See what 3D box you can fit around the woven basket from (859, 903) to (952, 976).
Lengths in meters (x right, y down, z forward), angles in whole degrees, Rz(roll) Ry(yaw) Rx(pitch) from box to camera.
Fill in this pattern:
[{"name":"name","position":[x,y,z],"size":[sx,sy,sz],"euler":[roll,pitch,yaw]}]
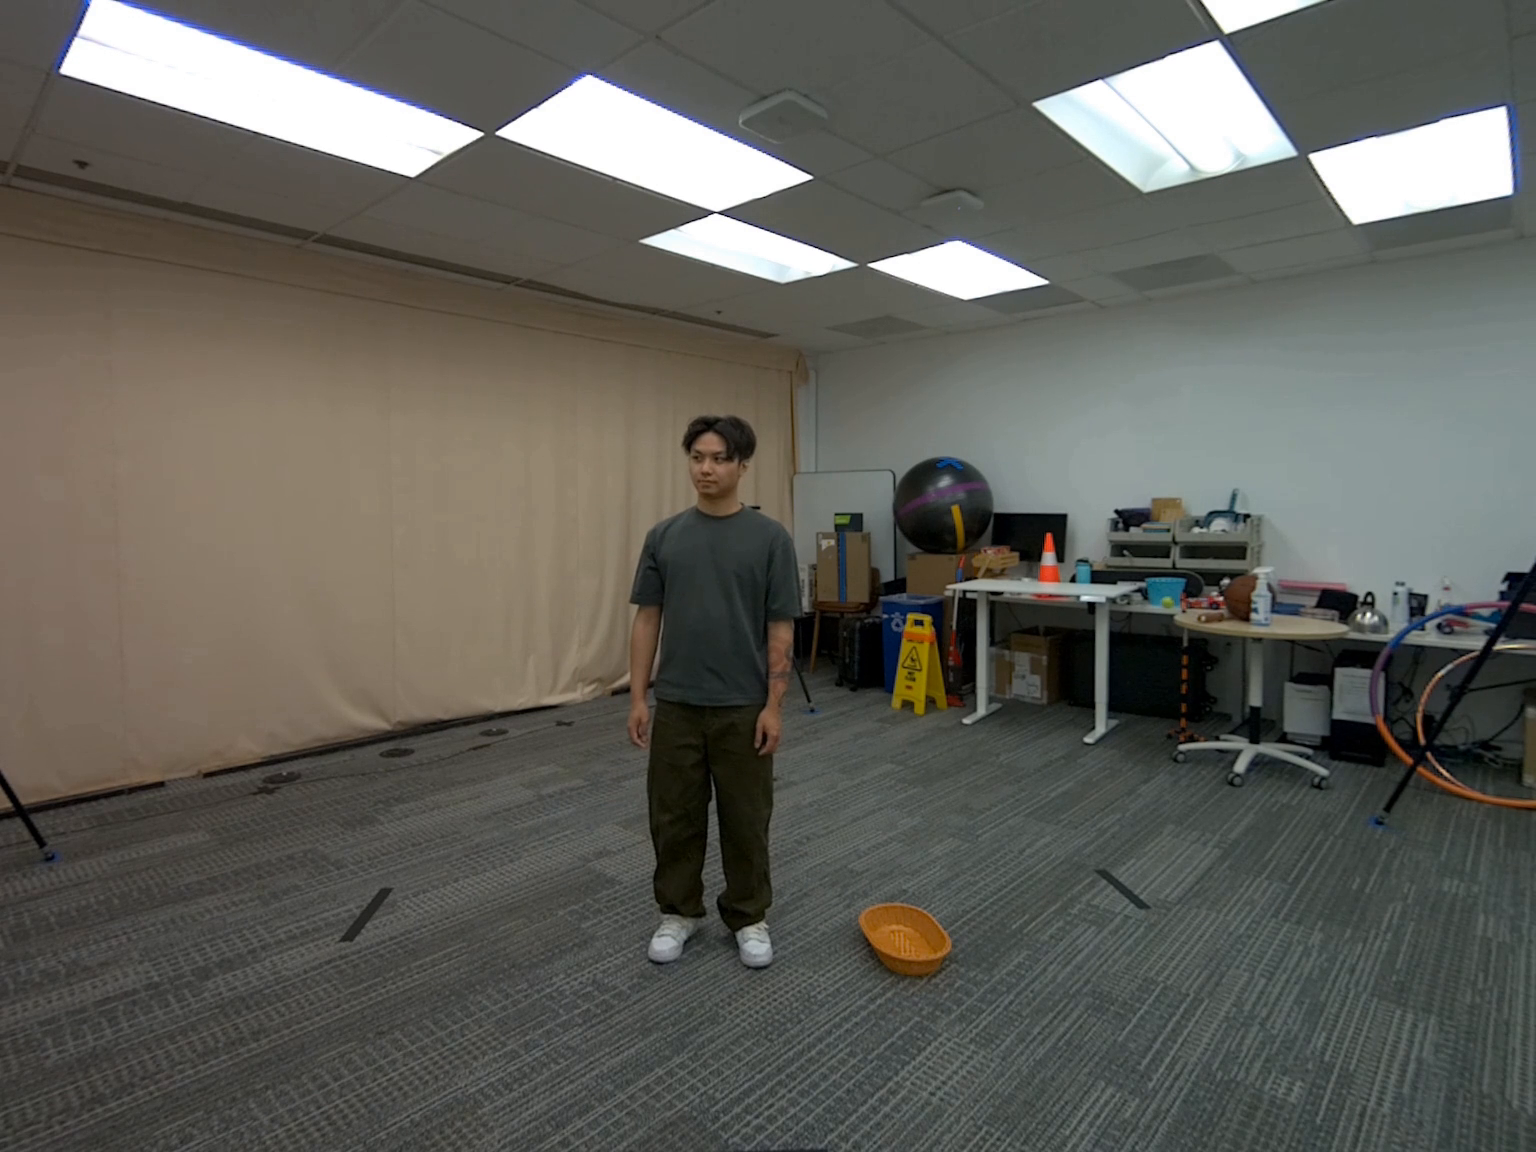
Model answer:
[{"name":"woven basket","position":[0.426,1.139,2.624],"size":[0.251,0.073,0.354],"euler":[-1,5,-7]}]
